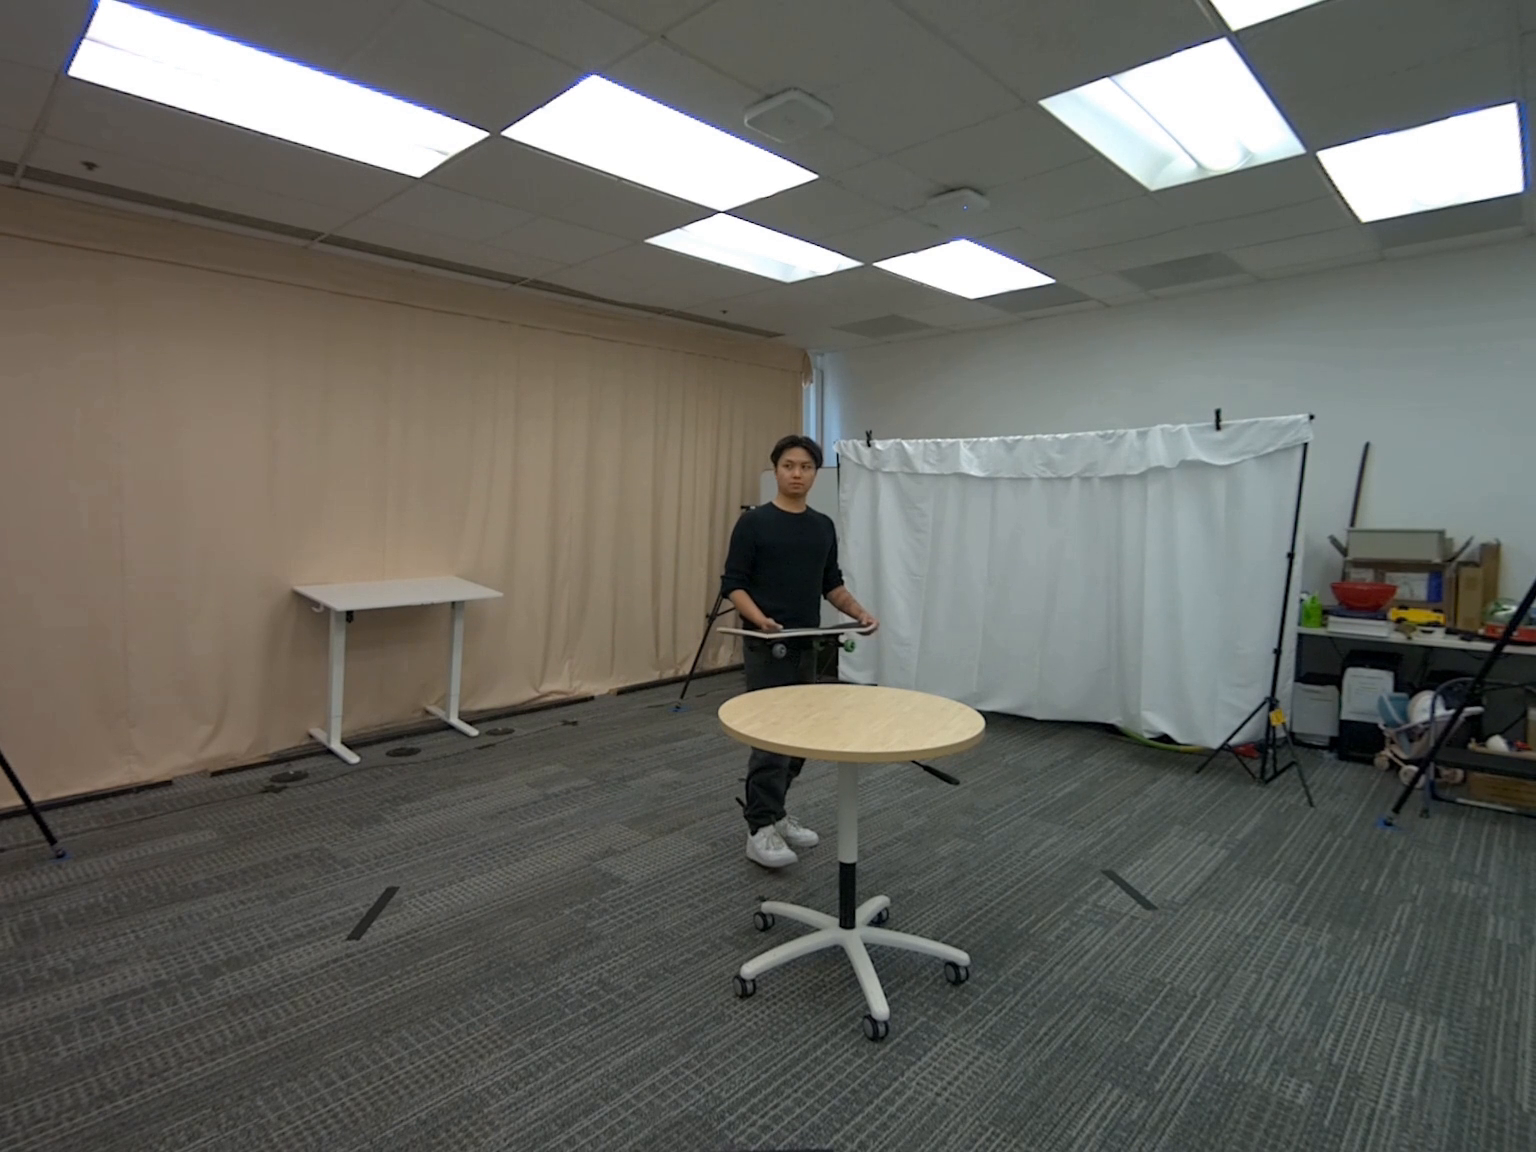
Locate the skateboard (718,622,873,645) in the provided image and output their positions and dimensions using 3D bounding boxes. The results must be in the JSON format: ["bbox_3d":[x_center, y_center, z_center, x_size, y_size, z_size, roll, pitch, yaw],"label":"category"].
[{"bbox_3d":[0.119,0.243,3.171,0.760,0.110,0.199,0,-1,-44],"label":"skateboard"}]
